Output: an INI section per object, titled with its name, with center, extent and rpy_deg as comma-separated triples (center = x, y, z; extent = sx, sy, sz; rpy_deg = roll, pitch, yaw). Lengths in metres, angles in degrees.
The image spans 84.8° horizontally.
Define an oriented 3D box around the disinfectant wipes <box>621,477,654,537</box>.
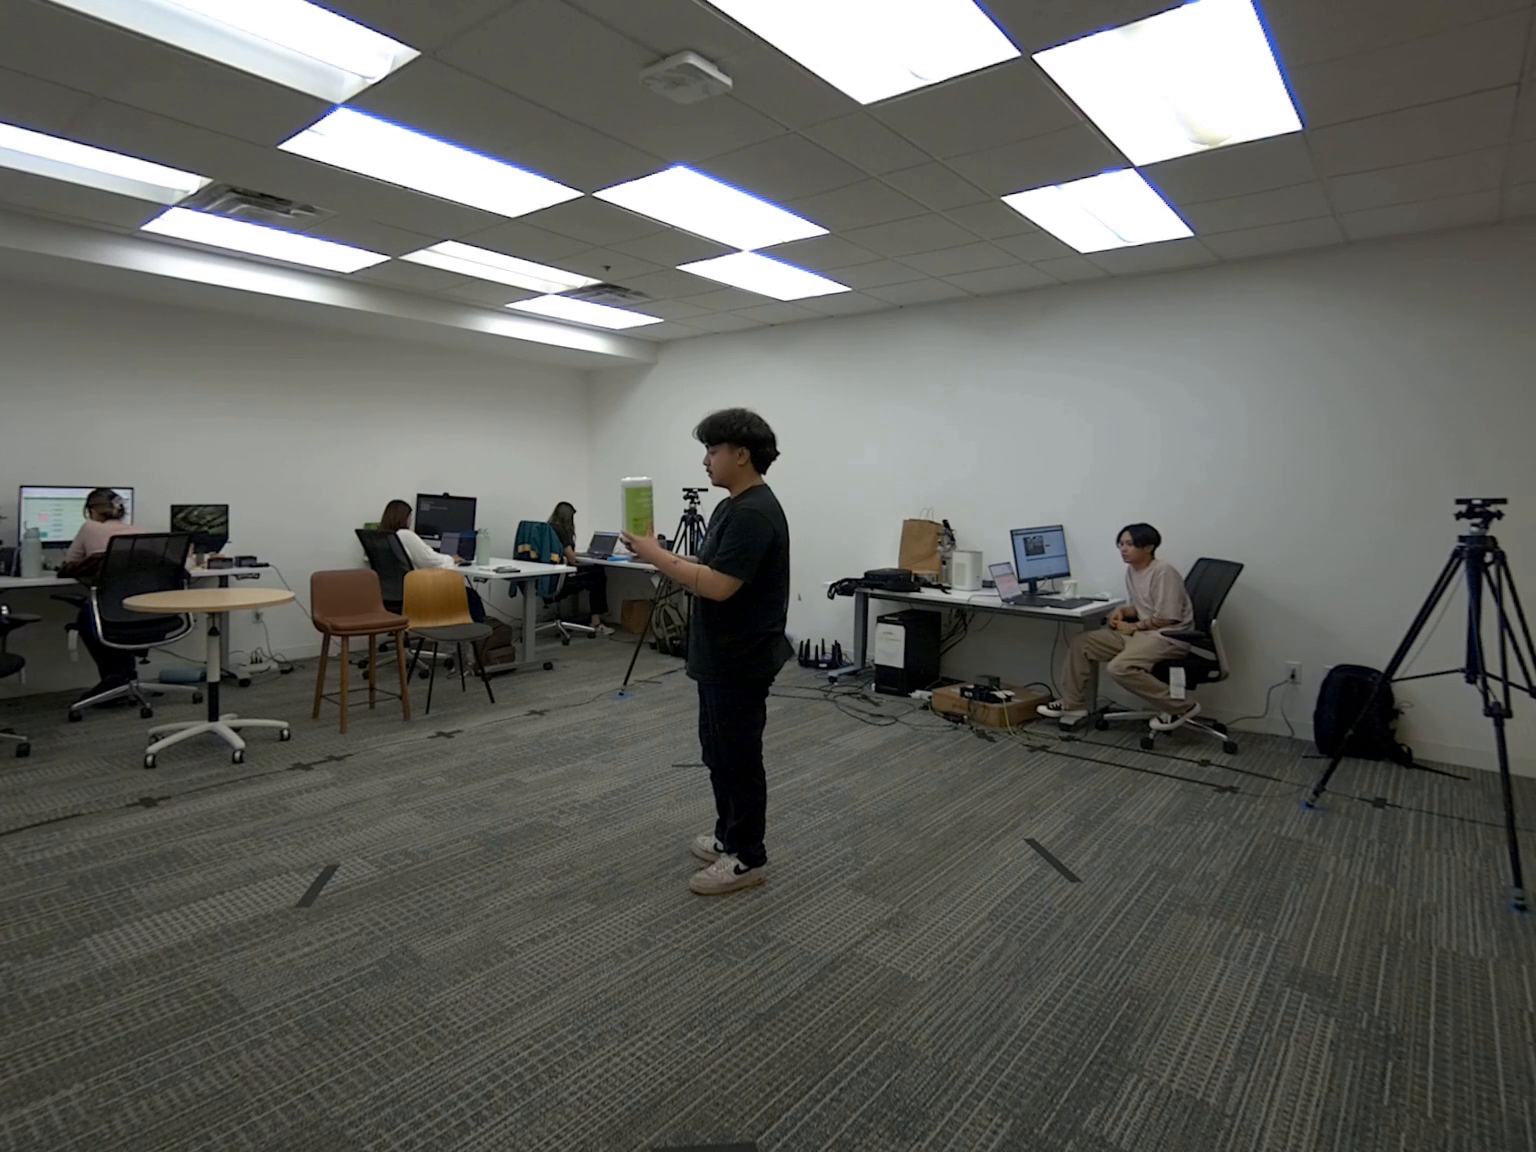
[disinfectant wipes]
center = -0.458, -0.225, 2.903
extent = 0.118, 0.216, 0.118
rpy_deg = -1, 6, -2
